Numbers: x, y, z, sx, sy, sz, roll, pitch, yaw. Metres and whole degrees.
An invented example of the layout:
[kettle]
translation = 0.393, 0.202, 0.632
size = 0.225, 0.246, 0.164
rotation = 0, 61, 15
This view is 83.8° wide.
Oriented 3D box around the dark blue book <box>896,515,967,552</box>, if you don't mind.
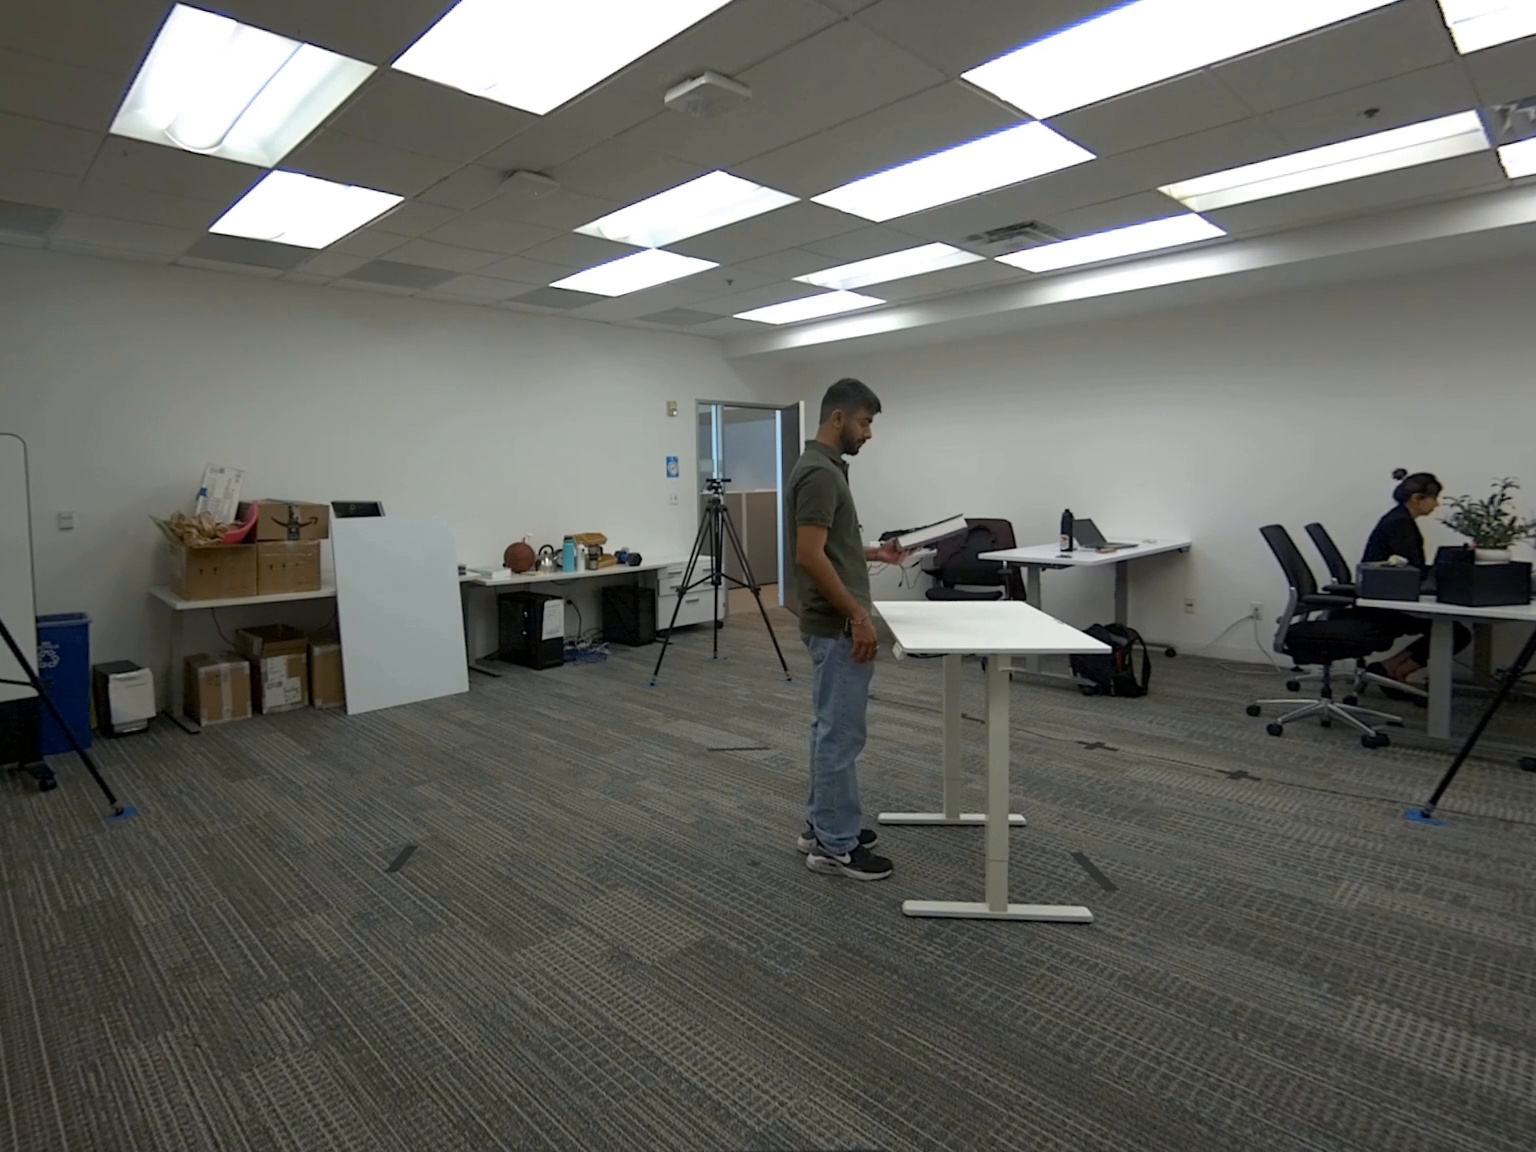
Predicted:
[dark blue book]
translation = 0.586, -0.138, 3.031
size = 0.246, 0.046, 0.161
rotation = -17, -8, 7
